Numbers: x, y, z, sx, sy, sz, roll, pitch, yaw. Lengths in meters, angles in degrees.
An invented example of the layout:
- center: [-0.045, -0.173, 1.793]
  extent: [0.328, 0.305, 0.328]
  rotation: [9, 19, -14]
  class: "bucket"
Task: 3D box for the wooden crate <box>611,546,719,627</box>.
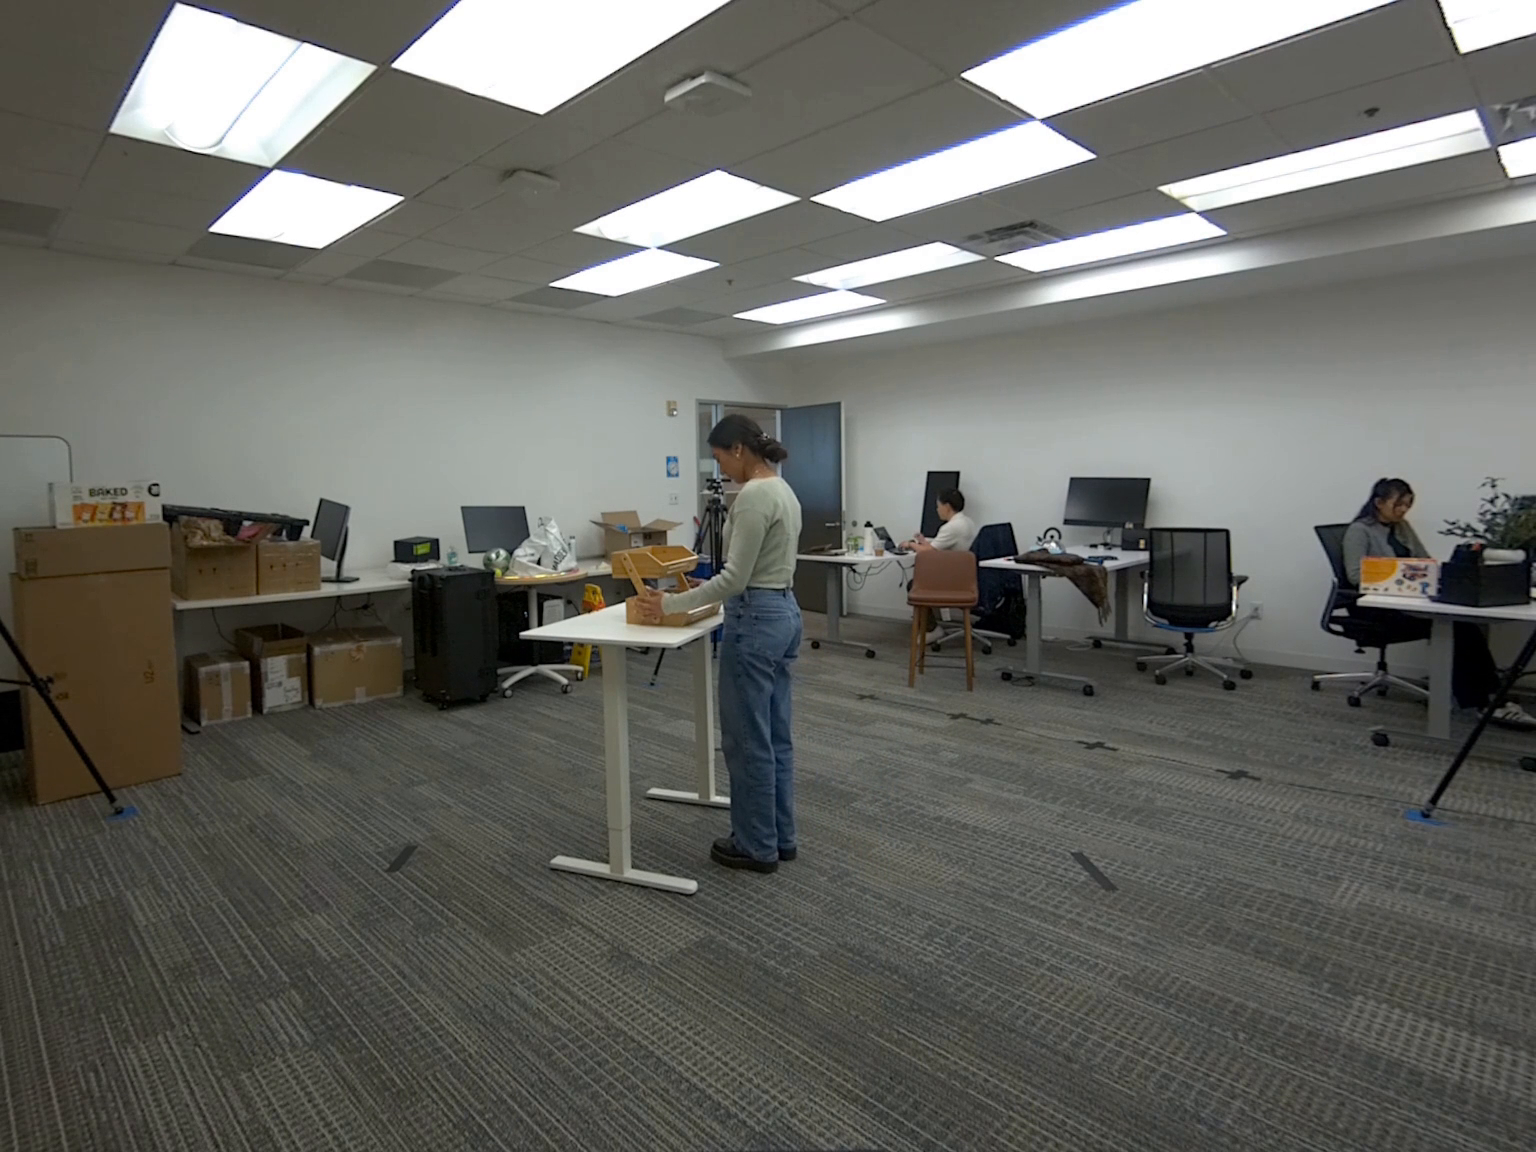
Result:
- center: [-0.364, 0.025, 3.184]
  extent: [0.308, 0.272, 0.319]
  rotation: [0, 5, 23]
  class: "wooden crate"
